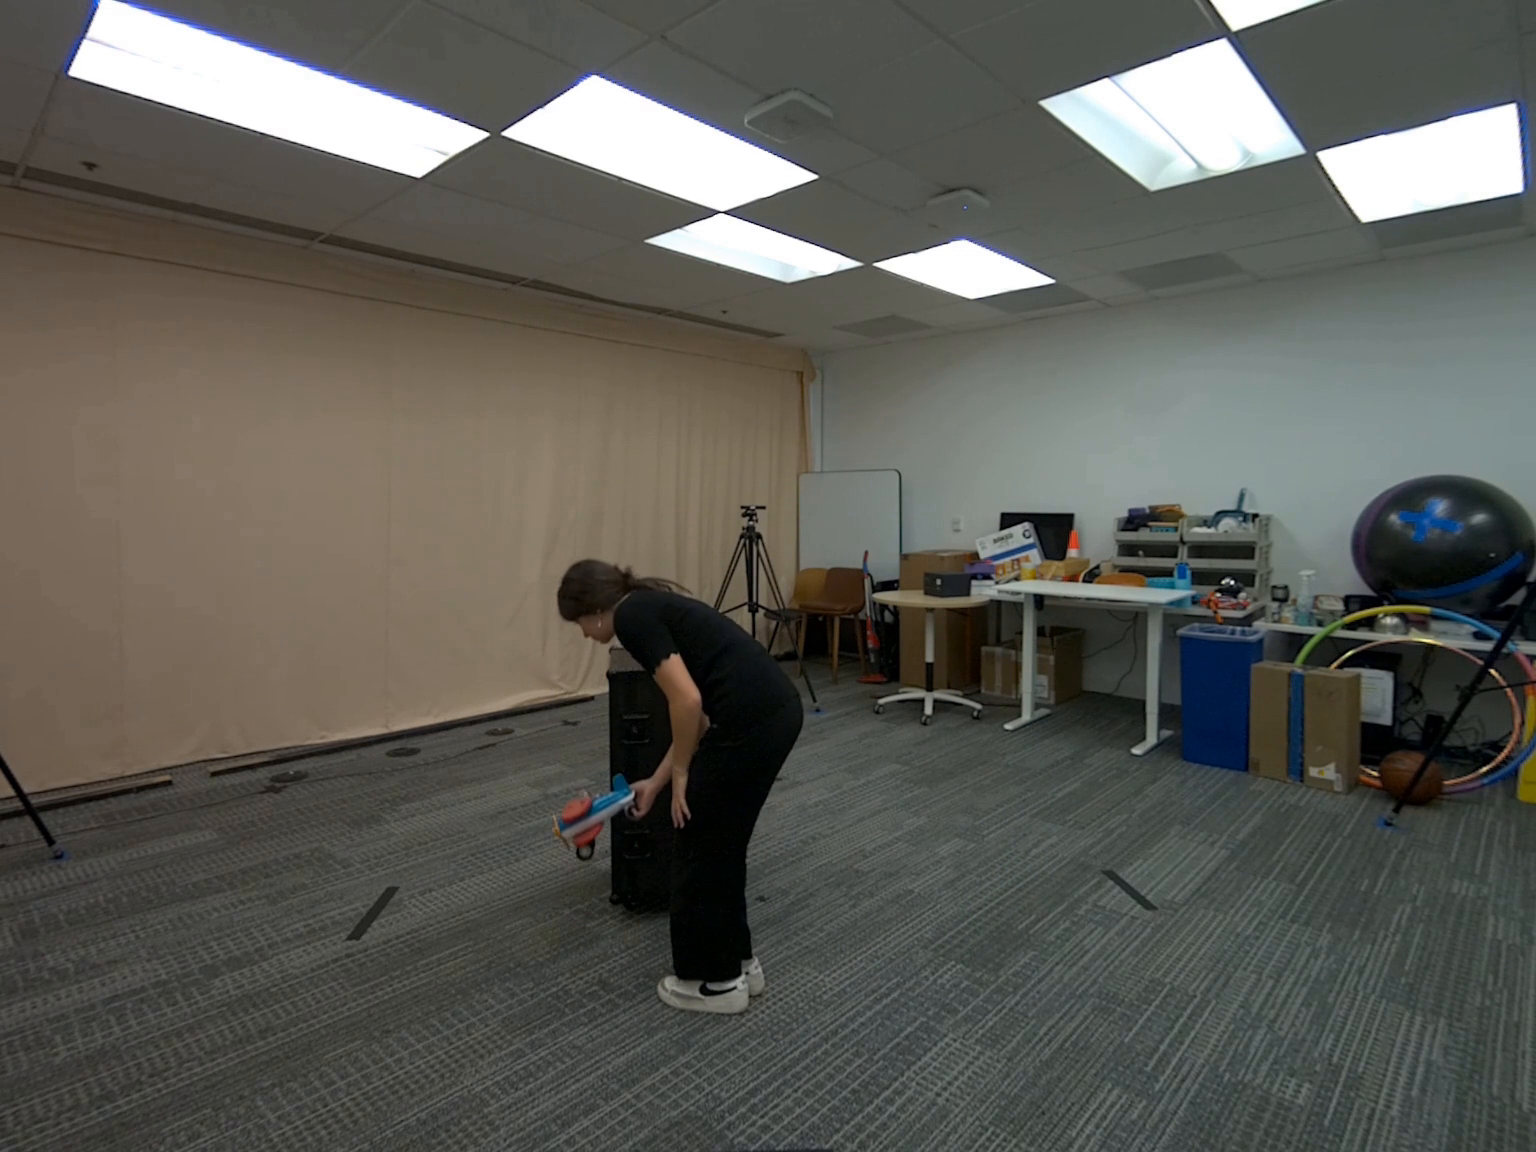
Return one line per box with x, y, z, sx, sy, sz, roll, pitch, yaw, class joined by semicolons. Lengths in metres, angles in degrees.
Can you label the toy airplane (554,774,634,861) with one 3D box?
-0.522;0.726;2.581;0.256;0.156;0.255;-44;6;-37;toy airplane
